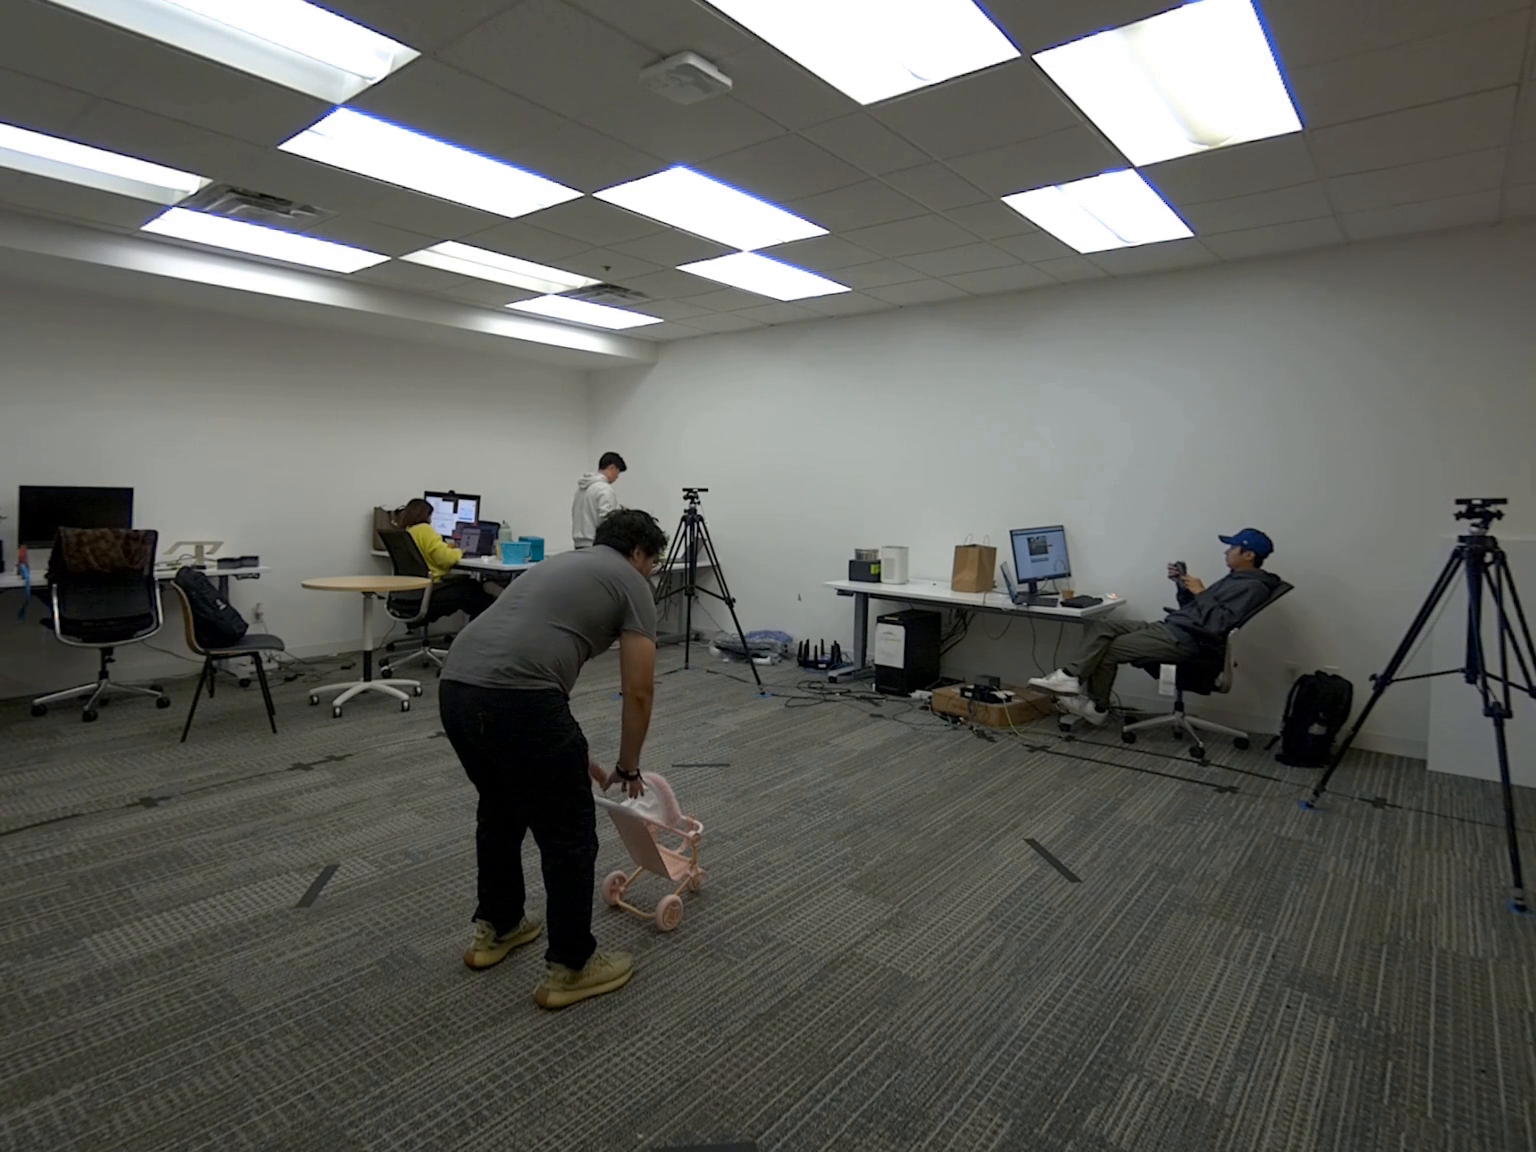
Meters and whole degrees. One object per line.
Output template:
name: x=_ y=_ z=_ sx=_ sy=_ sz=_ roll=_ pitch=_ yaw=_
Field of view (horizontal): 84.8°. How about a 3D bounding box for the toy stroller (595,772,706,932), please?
toy stroller: x=-0.376 y=0.874 z=2.786 sx=0.291 sy=0.526 sz=0.335 roll=5 pitch=21 yaw=43
